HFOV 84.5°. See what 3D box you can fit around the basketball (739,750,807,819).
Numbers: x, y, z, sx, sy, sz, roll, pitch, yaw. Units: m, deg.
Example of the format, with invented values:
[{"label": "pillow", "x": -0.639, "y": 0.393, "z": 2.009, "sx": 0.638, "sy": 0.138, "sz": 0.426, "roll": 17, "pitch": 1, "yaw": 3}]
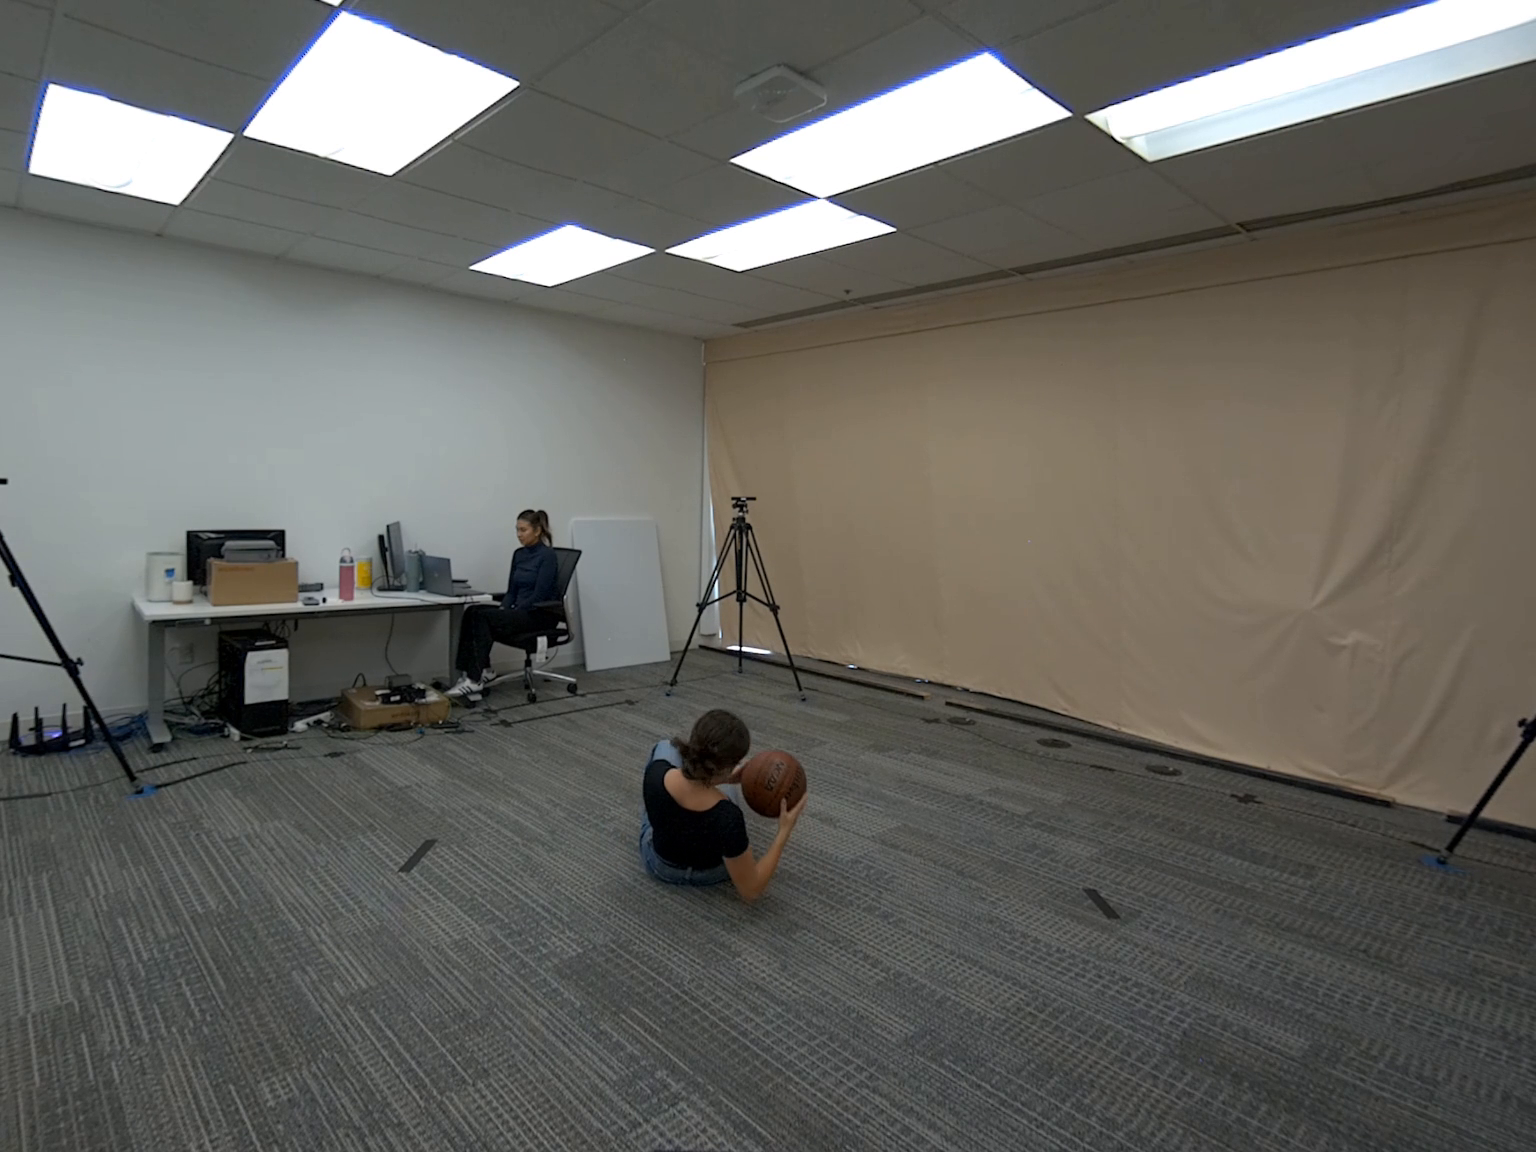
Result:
[{"label": "basketball", "x": 0.002, "y": 0.760, "z": 3.034, "sx": 0.236, "sy": 0.235, "sz": 0.237, "roll": 1, "pitch": 4, "yaw": -1}]
